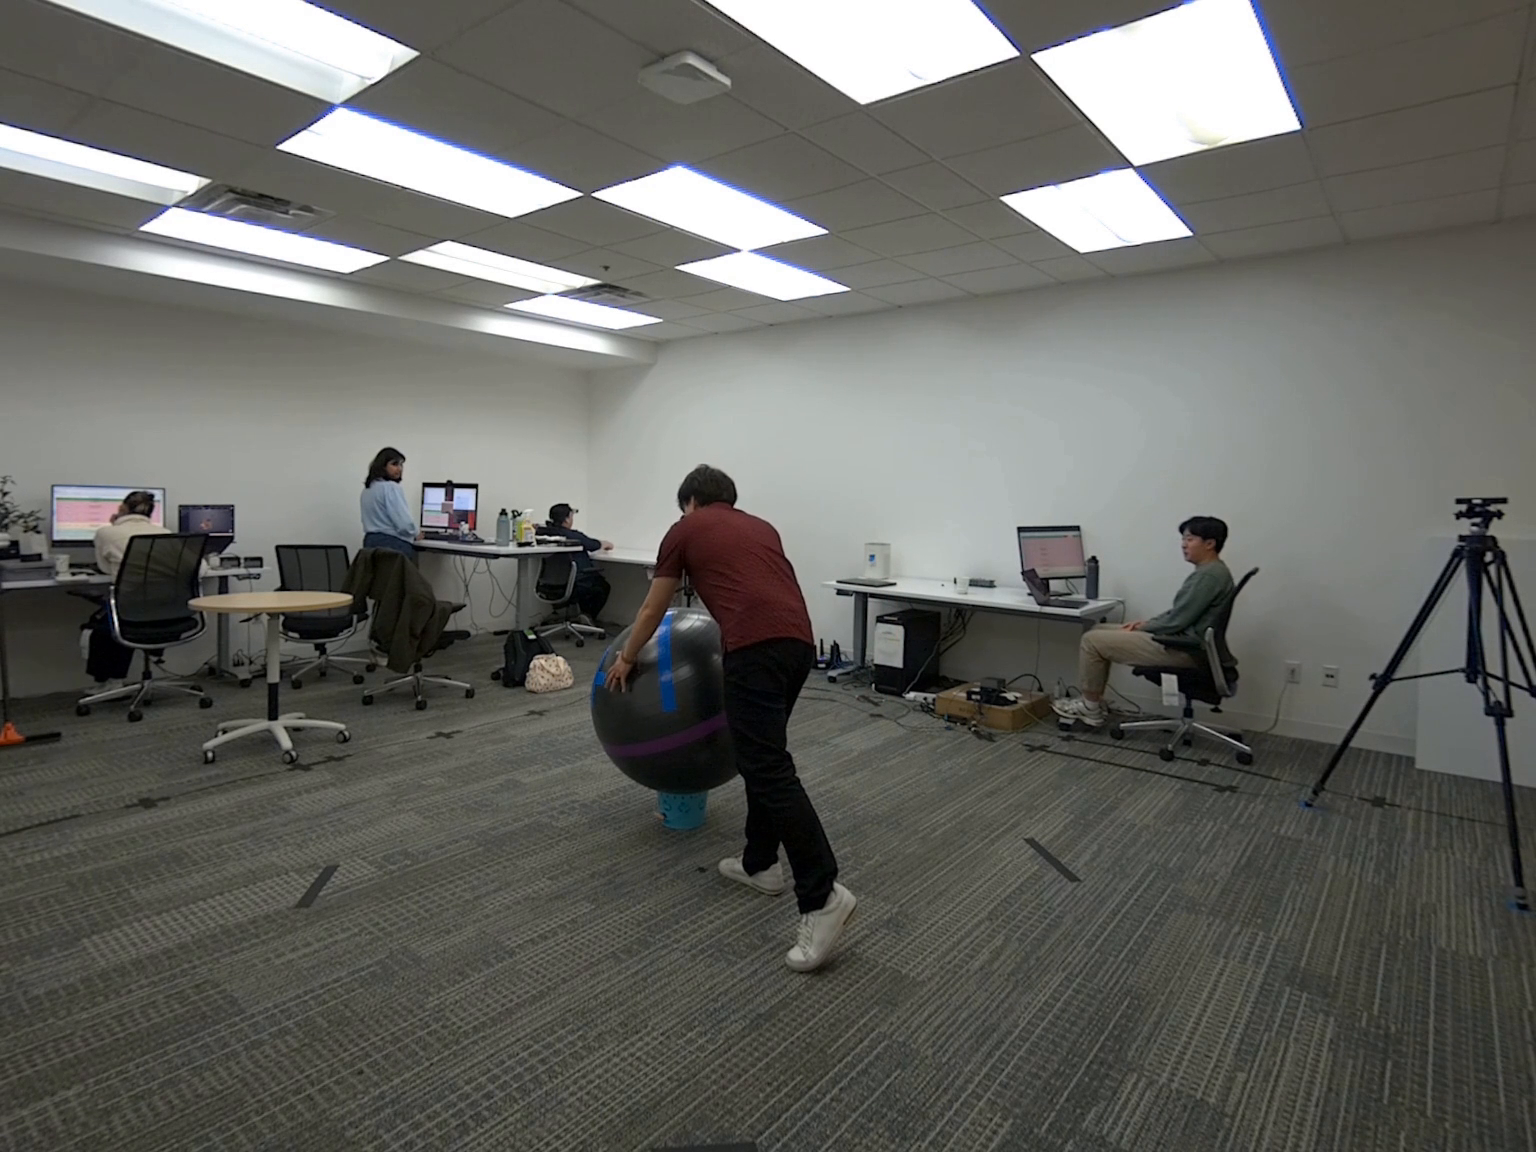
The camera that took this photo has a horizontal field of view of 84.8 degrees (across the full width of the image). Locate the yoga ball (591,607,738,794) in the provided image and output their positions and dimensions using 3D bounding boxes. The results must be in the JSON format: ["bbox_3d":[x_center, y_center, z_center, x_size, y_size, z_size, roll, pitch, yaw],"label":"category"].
[{"bbox_3d":[-0.370,0.515,3.543,0.757,0.755,0.762,1,4,-2],"label":"yoga ball"}]
